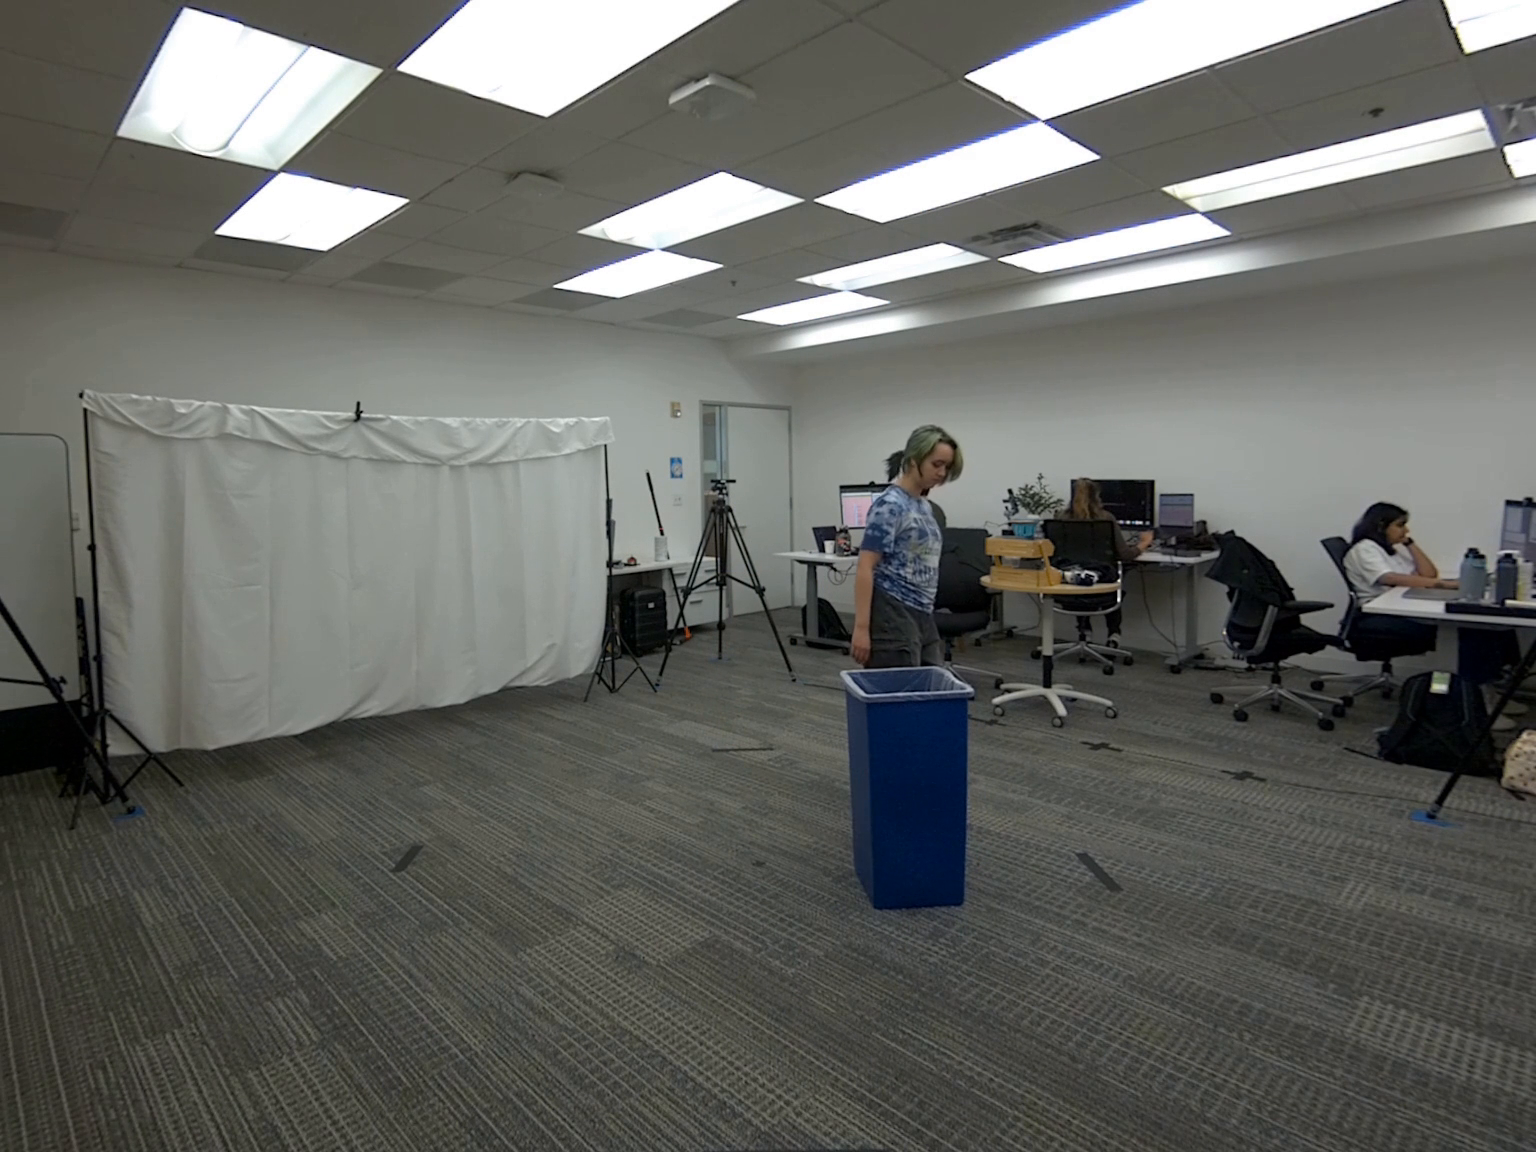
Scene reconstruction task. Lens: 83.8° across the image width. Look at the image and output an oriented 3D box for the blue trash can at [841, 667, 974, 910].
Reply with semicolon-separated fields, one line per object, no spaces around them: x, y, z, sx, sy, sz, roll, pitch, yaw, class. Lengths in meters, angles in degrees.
0.463;0.706;2.893;0.372;0.711;0.381;-1;4;-6;blue trash can
